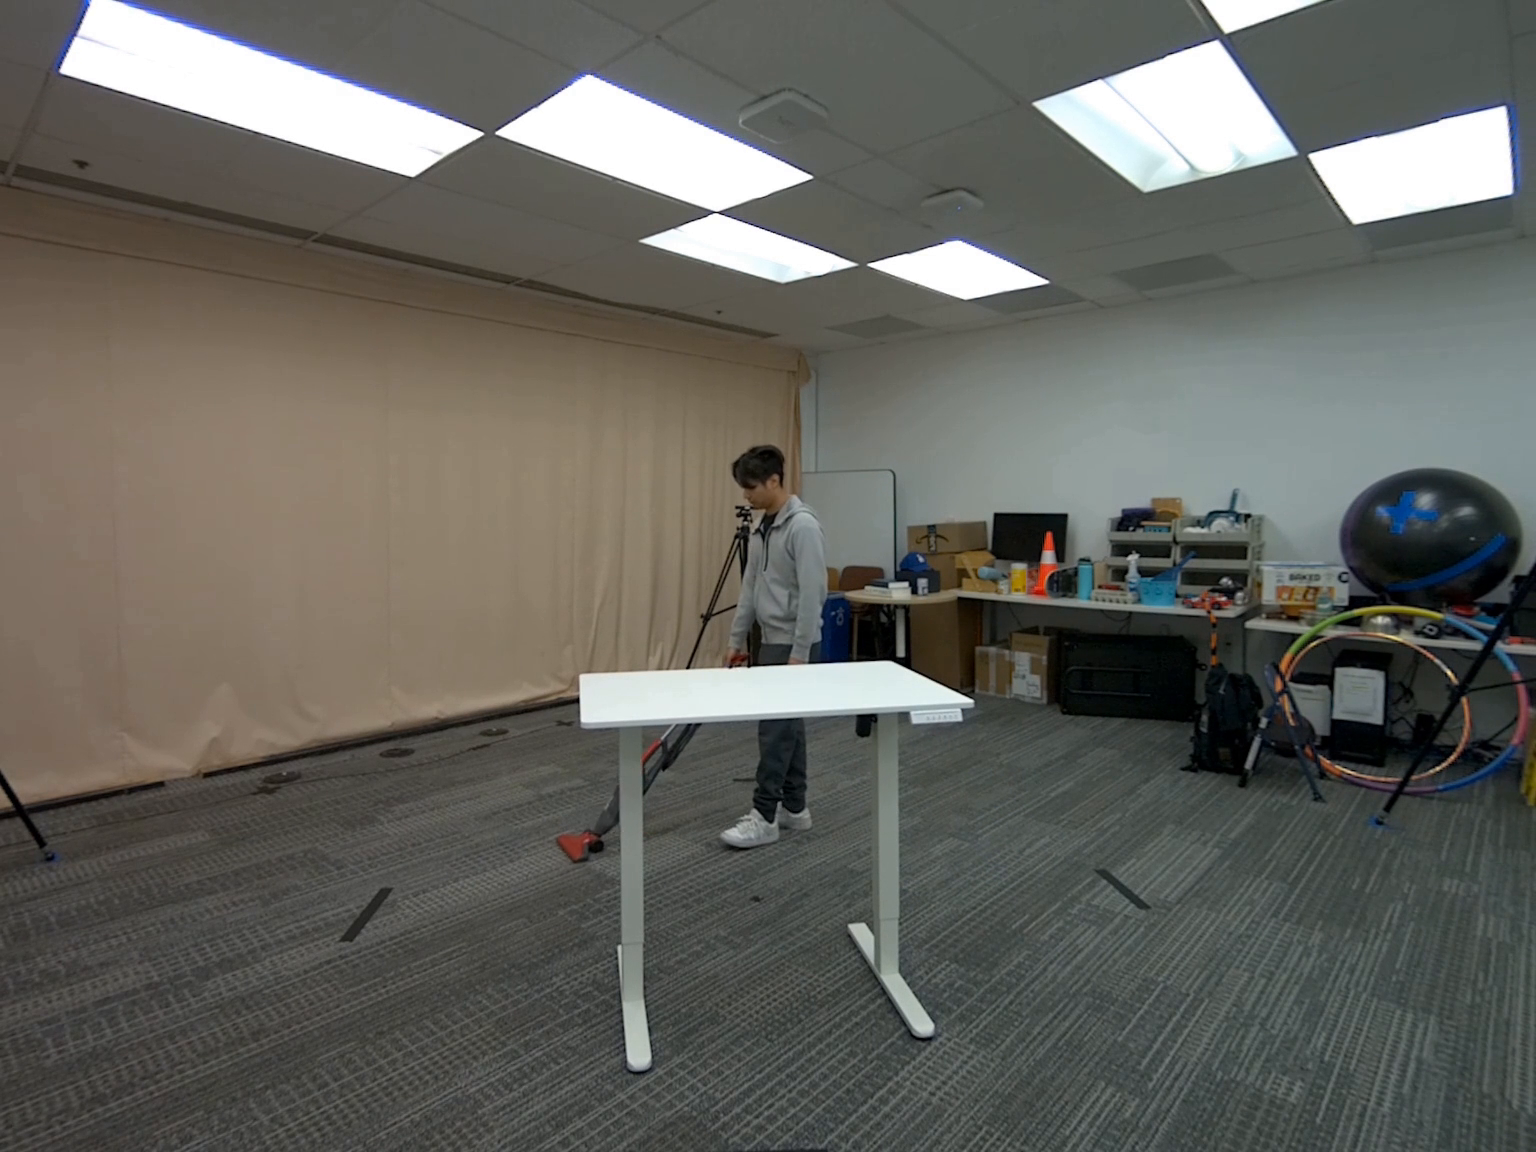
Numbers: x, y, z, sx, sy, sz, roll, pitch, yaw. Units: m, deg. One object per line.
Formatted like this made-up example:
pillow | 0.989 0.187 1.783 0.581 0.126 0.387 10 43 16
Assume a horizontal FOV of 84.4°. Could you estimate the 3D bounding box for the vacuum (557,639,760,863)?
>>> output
vacuum | -0.446 0.754 3.598 1.044 0.140 0.260 -49 27 -21
